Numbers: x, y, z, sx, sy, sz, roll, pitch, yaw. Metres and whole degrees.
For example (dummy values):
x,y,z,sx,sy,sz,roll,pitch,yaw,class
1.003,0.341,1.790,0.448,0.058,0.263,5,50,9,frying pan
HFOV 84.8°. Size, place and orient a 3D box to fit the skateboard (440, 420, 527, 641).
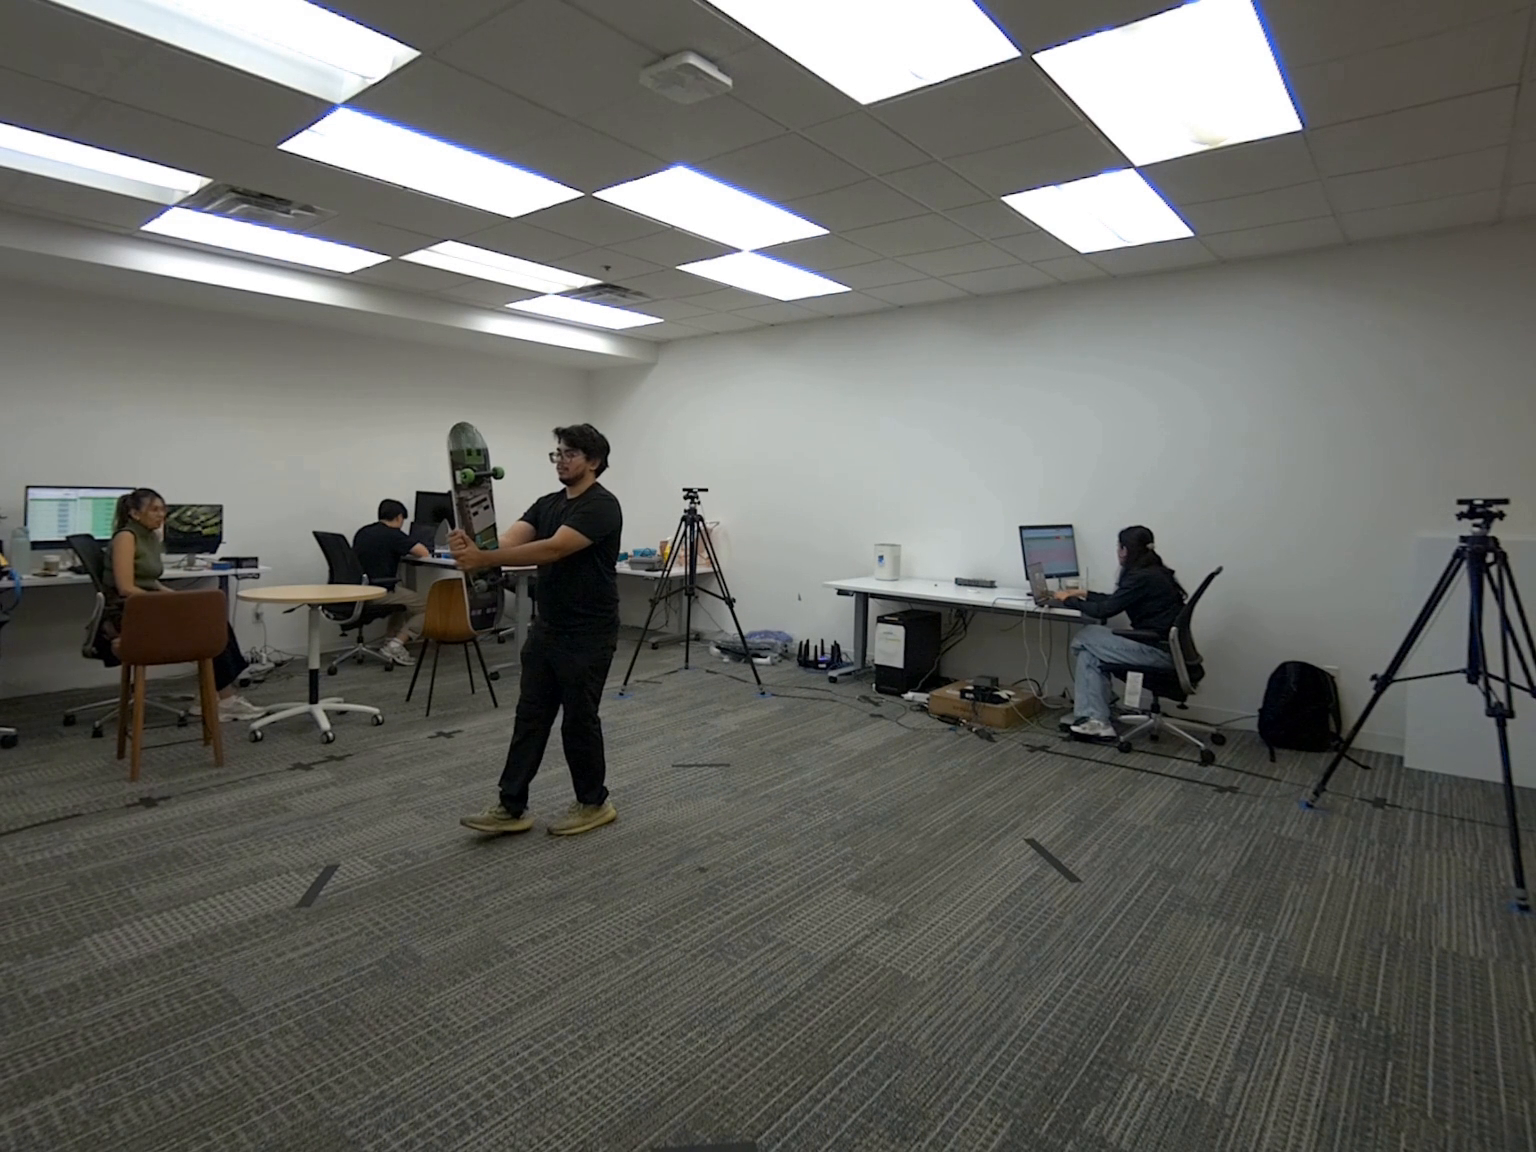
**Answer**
x,y,z,sx,sy,sz,roll,pitch,yaw,class
-1.049,-0.174,3.105,0.113,0.779,0.190,-1,8,28,skateboard
